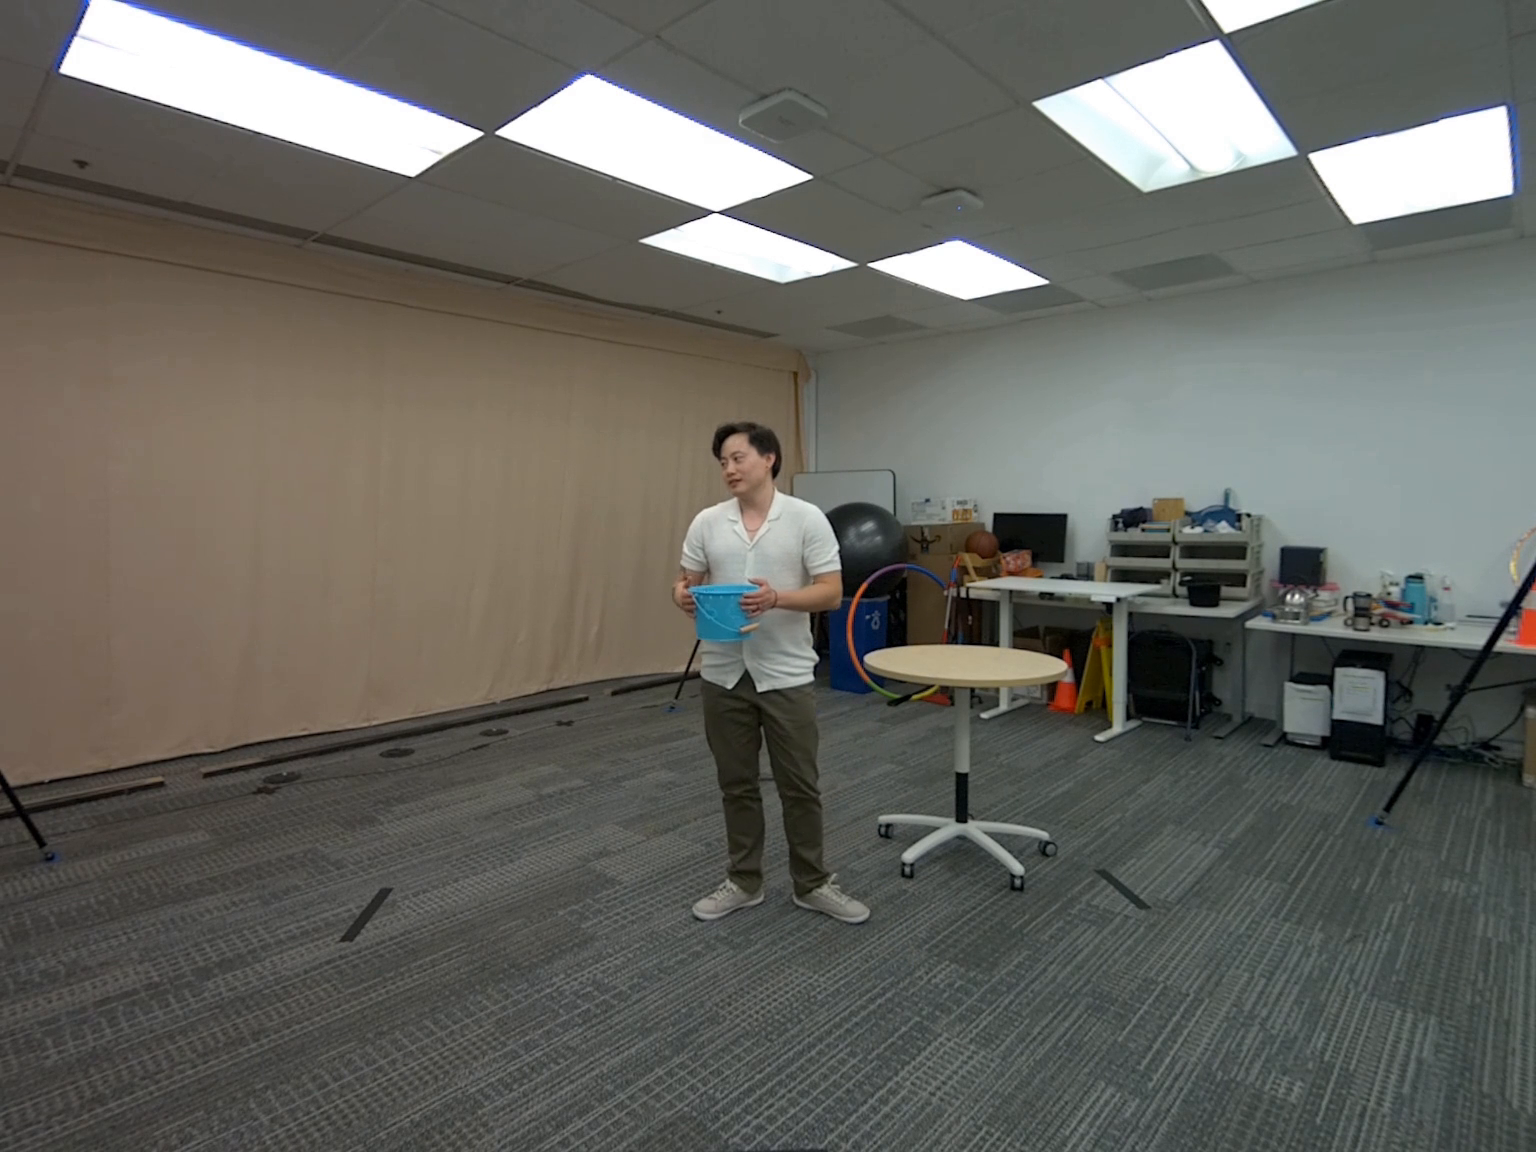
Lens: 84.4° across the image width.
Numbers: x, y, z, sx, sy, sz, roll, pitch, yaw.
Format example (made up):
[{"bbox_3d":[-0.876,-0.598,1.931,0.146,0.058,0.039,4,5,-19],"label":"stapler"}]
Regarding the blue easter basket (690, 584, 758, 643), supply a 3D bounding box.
[{"bbox_3d":[-0.123,0.117,2.645,0.243,0.155,0.244,-1,5,-2],"label":"blue easter basket"}]
